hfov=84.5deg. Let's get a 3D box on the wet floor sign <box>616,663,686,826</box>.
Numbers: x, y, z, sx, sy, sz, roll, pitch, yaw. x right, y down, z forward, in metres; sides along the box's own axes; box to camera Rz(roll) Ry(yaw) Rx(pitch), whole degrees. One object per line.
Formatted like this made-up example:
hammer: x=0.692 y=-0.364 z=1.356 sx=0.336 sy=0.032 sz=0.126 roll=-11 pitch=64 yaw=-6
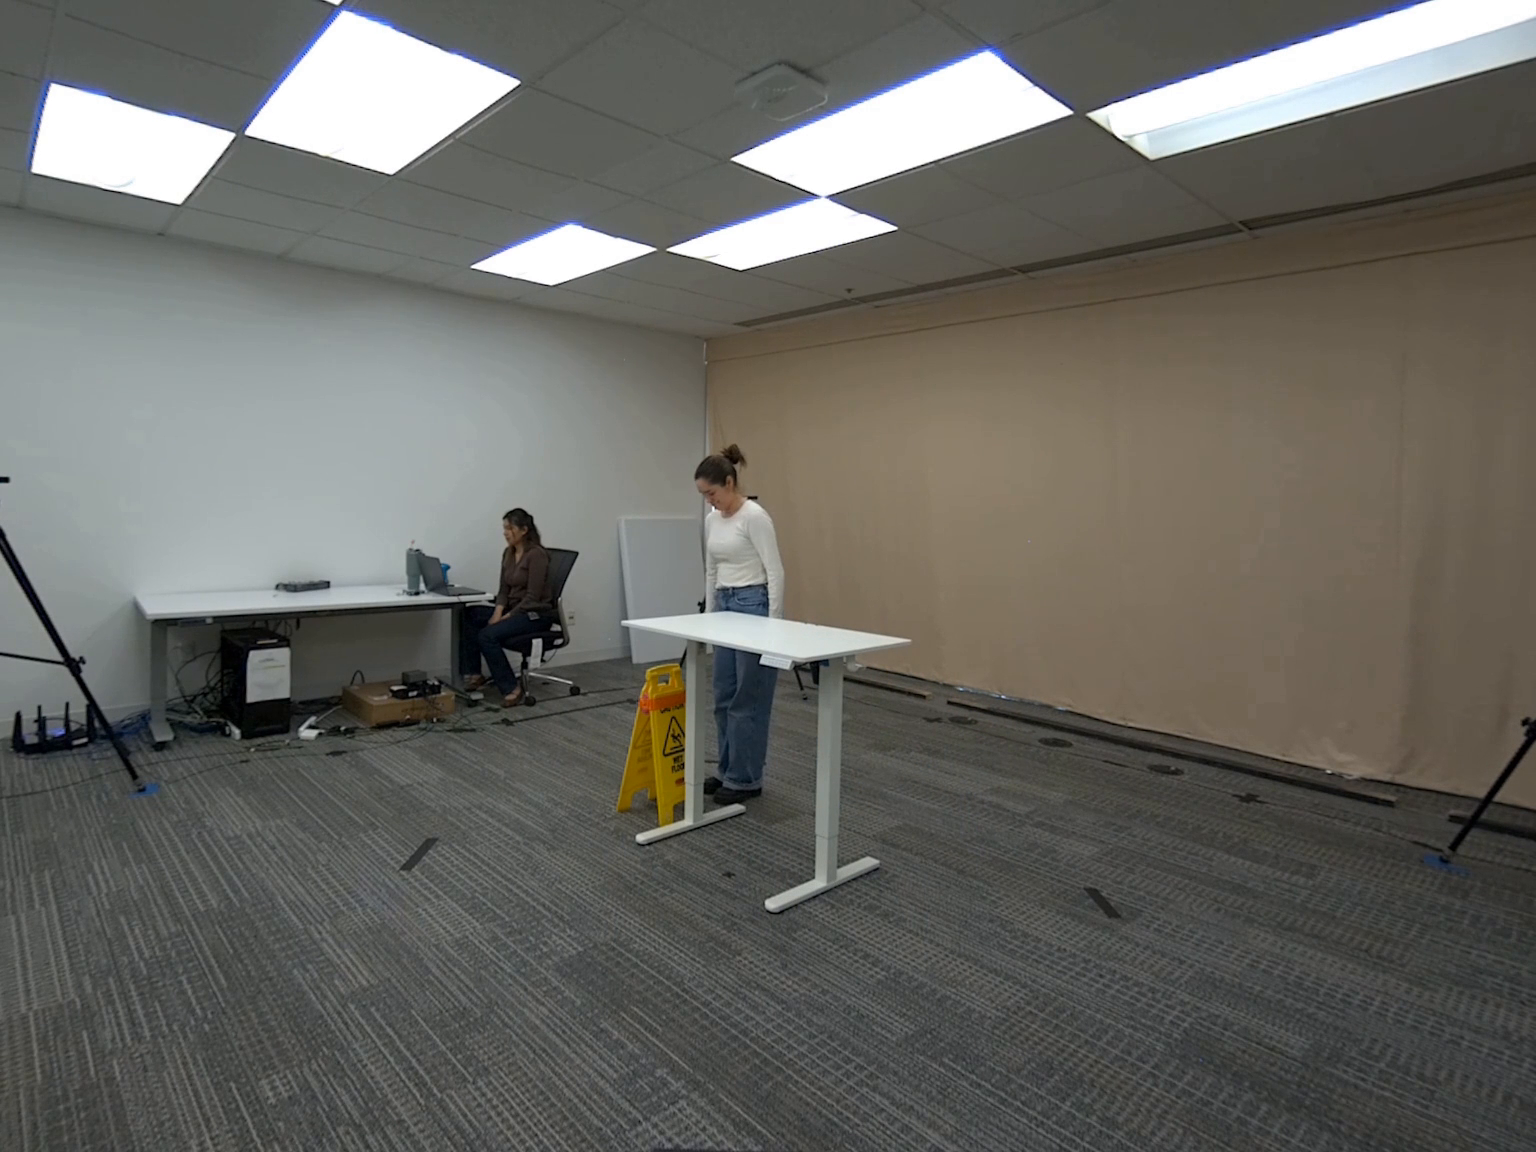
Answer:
wet floor sign: x=-0.477 y=0.720 z=3.708 sx=0.297 sy=0.645 sz=0.276 roll=3 pitch=2 yaw=38
